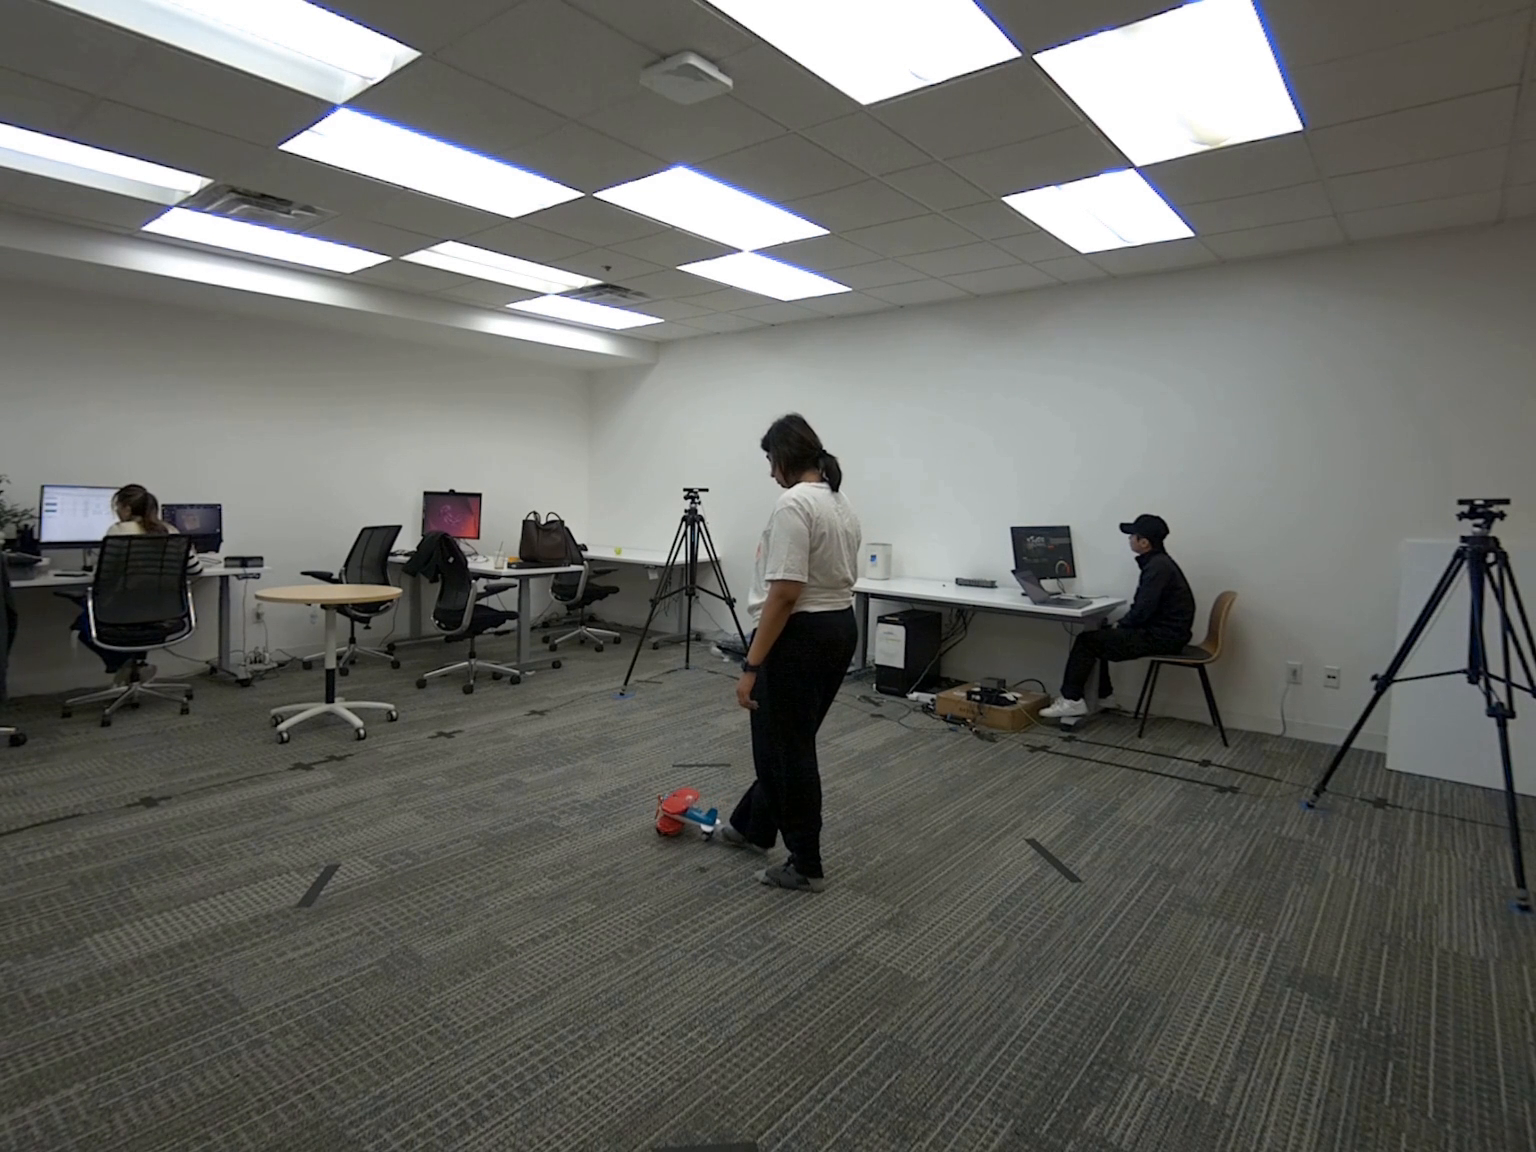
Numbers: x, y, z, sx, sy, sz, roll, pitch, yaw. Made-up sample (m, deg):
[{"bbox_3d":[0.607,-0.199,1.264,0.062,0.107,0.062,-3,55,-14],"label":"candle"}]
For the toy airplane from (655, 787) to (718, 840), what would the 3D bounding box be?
[{"bbox_3d":[-0.330,0.960,3.433,0.257,0.156,0.253,0,4,-7],"label":"toy airplane"}]
